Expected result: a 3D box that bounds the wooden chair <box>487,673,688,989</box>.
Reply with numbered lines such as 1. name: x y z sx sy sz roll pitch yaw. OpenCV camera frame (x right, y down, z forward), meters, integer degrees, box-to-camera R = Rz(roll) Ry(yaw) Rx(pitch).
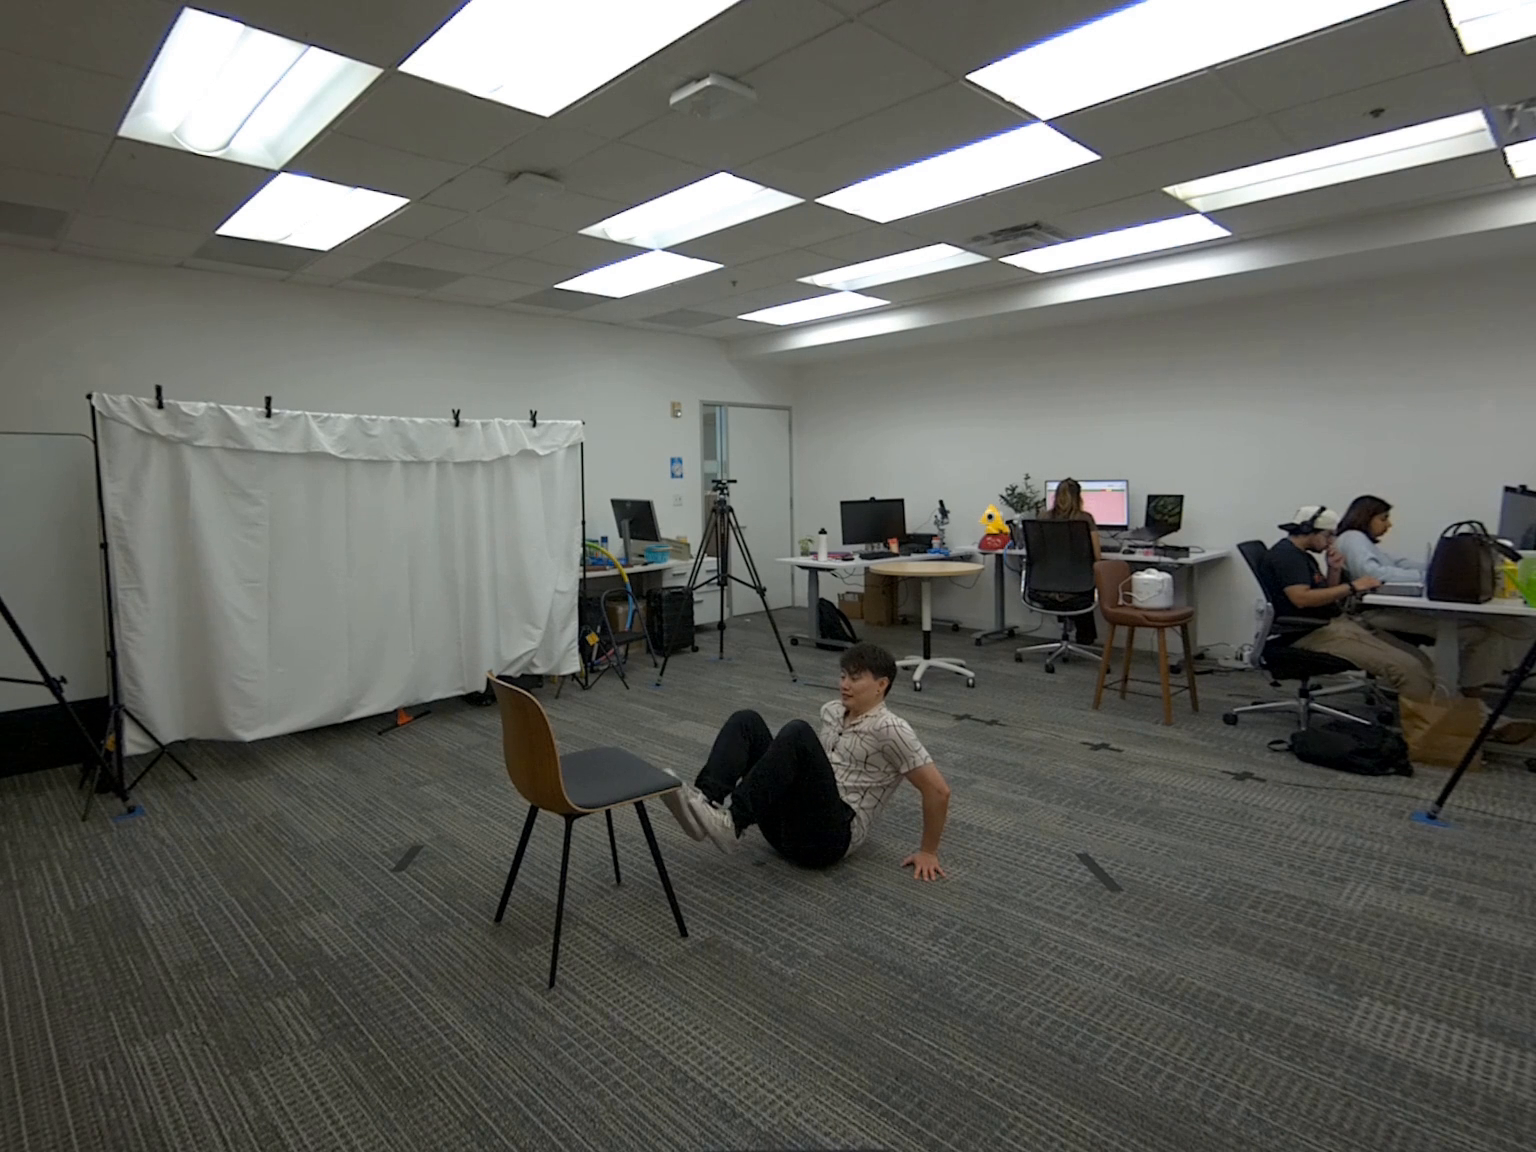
1. wooden chair: -0.562 0.684 2.649 0.511 0.872 0.492 -9 8 -35
